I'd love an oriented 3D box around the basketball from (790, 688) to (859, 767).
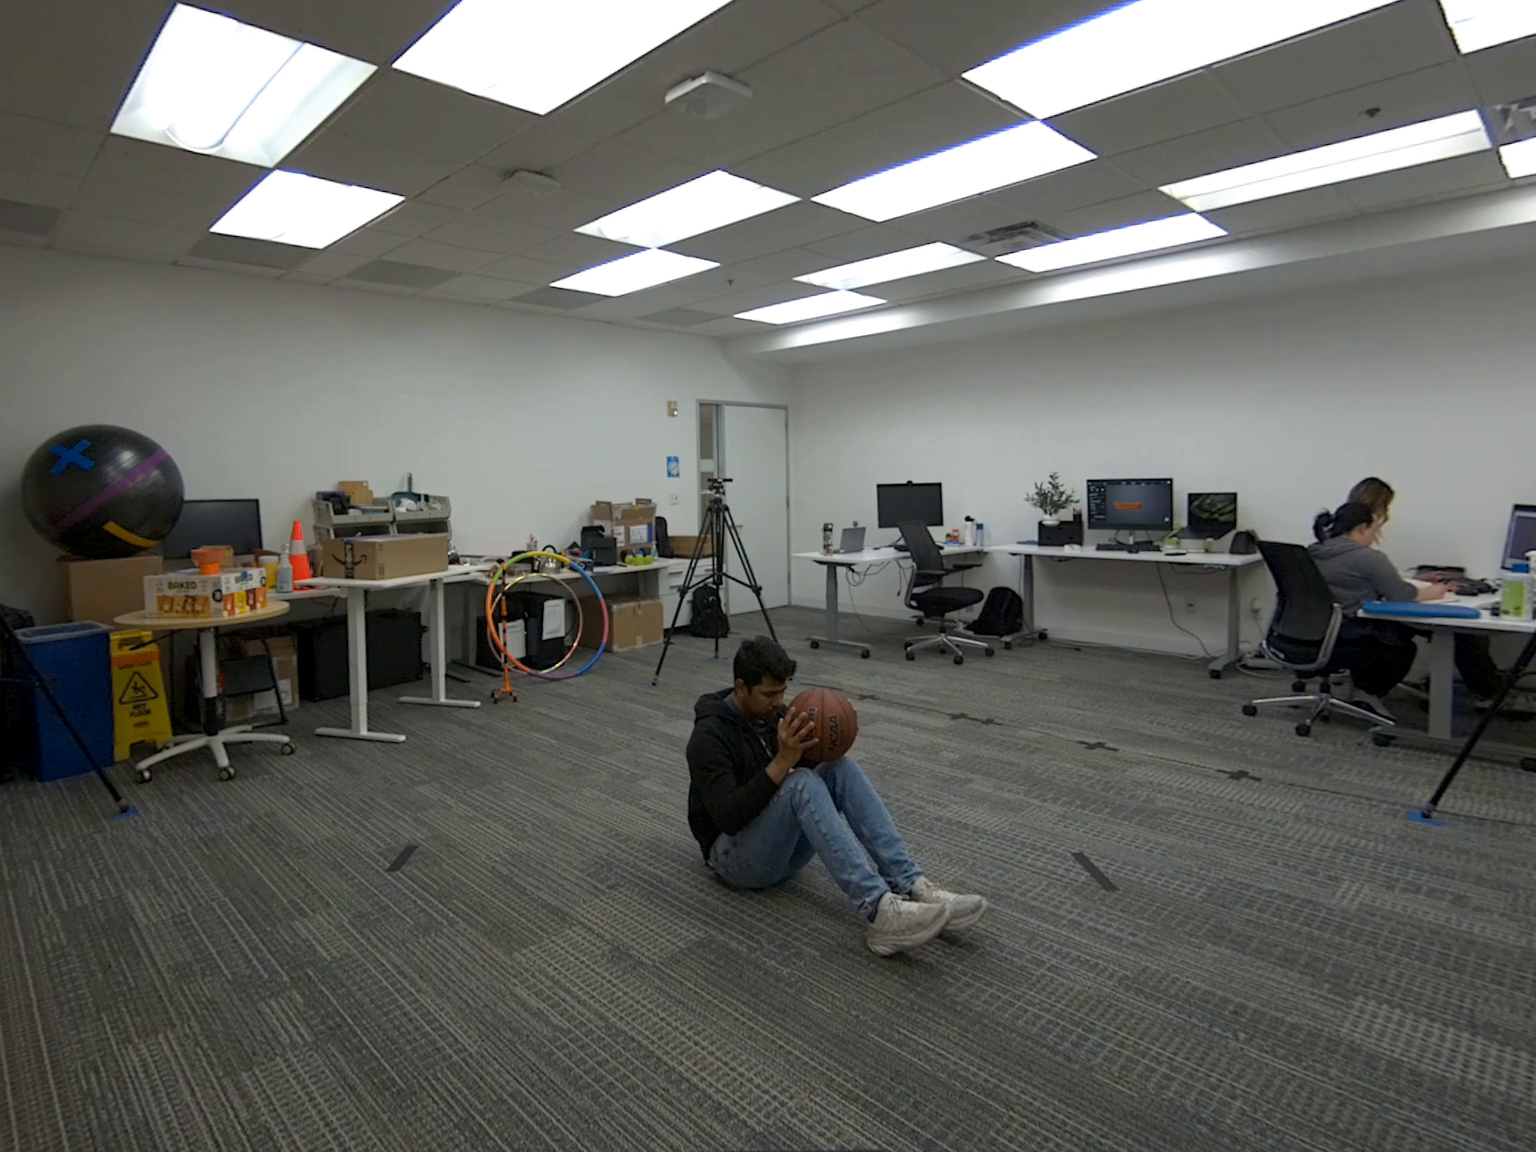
[{"bbox_3d":[0.163,0.473,2.795,0.236,0.235,0.237,-1,5,-2],"label":"basketball"}]
